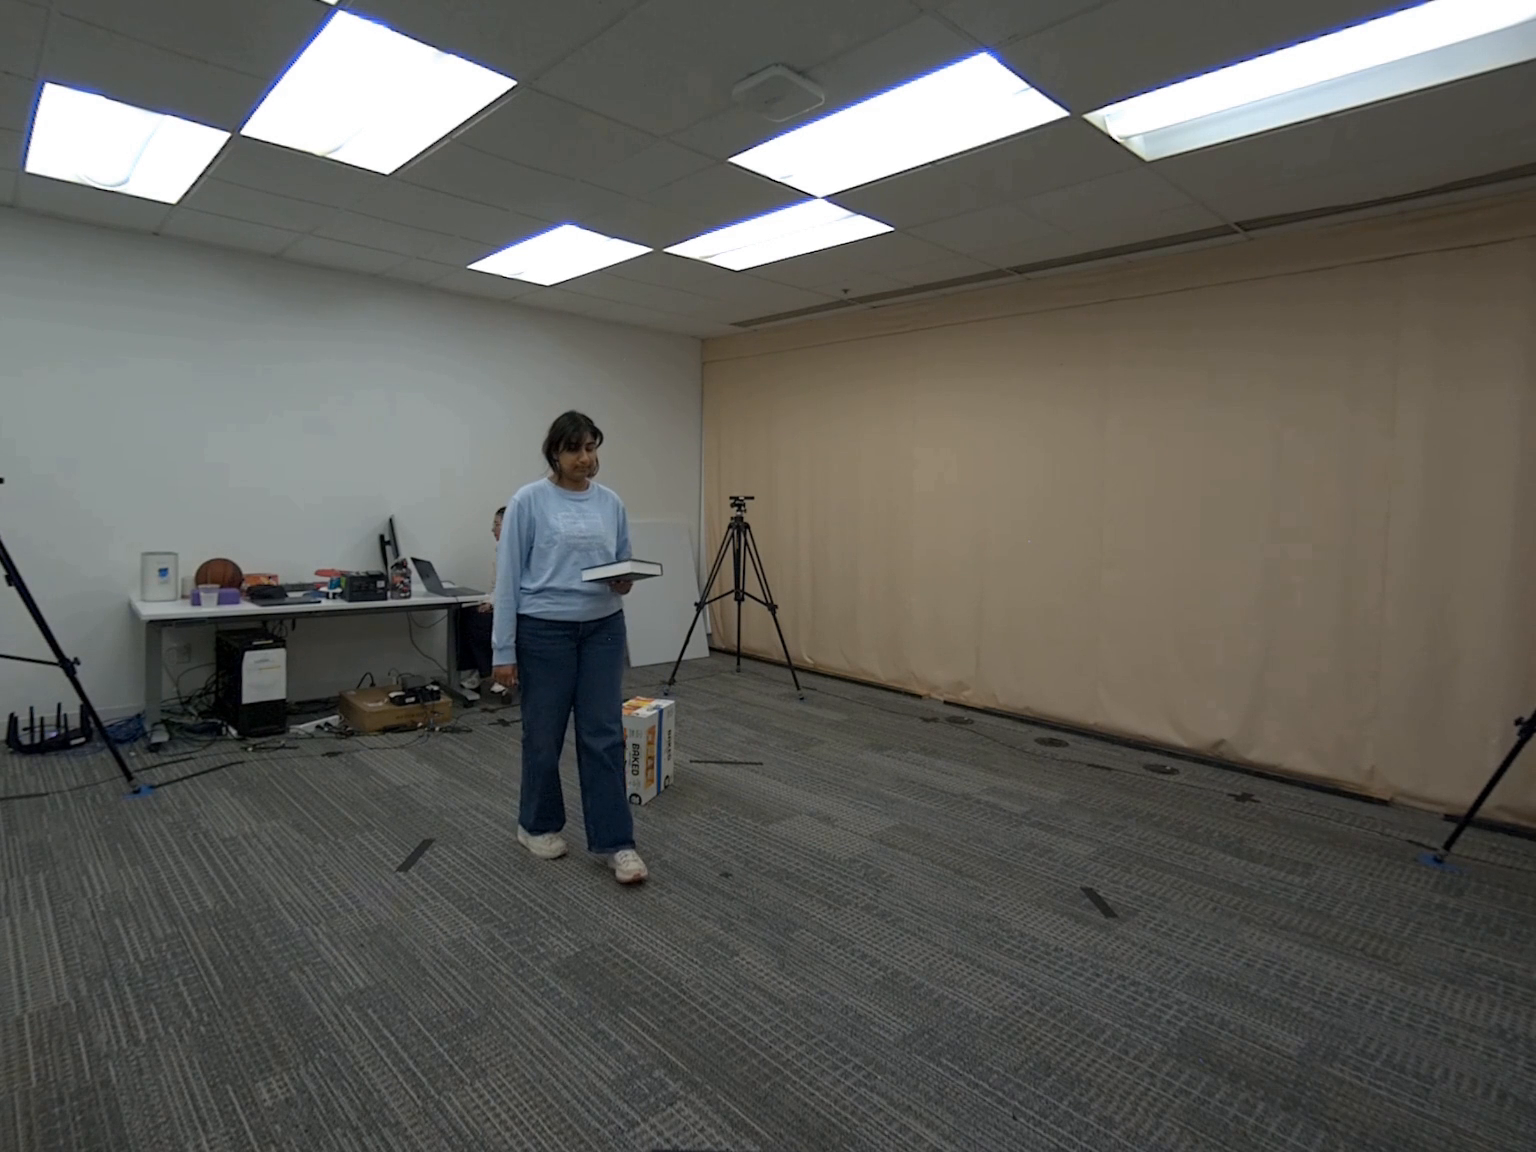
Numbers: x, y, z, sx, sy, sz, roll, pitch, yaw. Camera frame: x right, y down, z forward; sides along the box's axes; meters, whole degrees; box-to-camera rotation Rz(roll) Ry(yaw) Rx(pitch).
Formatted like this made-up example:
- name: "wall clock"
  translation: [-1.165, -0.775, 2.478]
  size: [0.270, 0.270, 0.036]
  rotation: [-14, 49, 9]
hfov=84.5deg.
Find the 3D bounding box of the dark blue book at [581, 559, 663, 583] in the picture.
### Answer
- name: "dark blue book"
  translation: [-0.523, -0.016, 2.955]
  size: [0.249, 0.045, 0.159]
  rotation: [-8, -9, 33]
